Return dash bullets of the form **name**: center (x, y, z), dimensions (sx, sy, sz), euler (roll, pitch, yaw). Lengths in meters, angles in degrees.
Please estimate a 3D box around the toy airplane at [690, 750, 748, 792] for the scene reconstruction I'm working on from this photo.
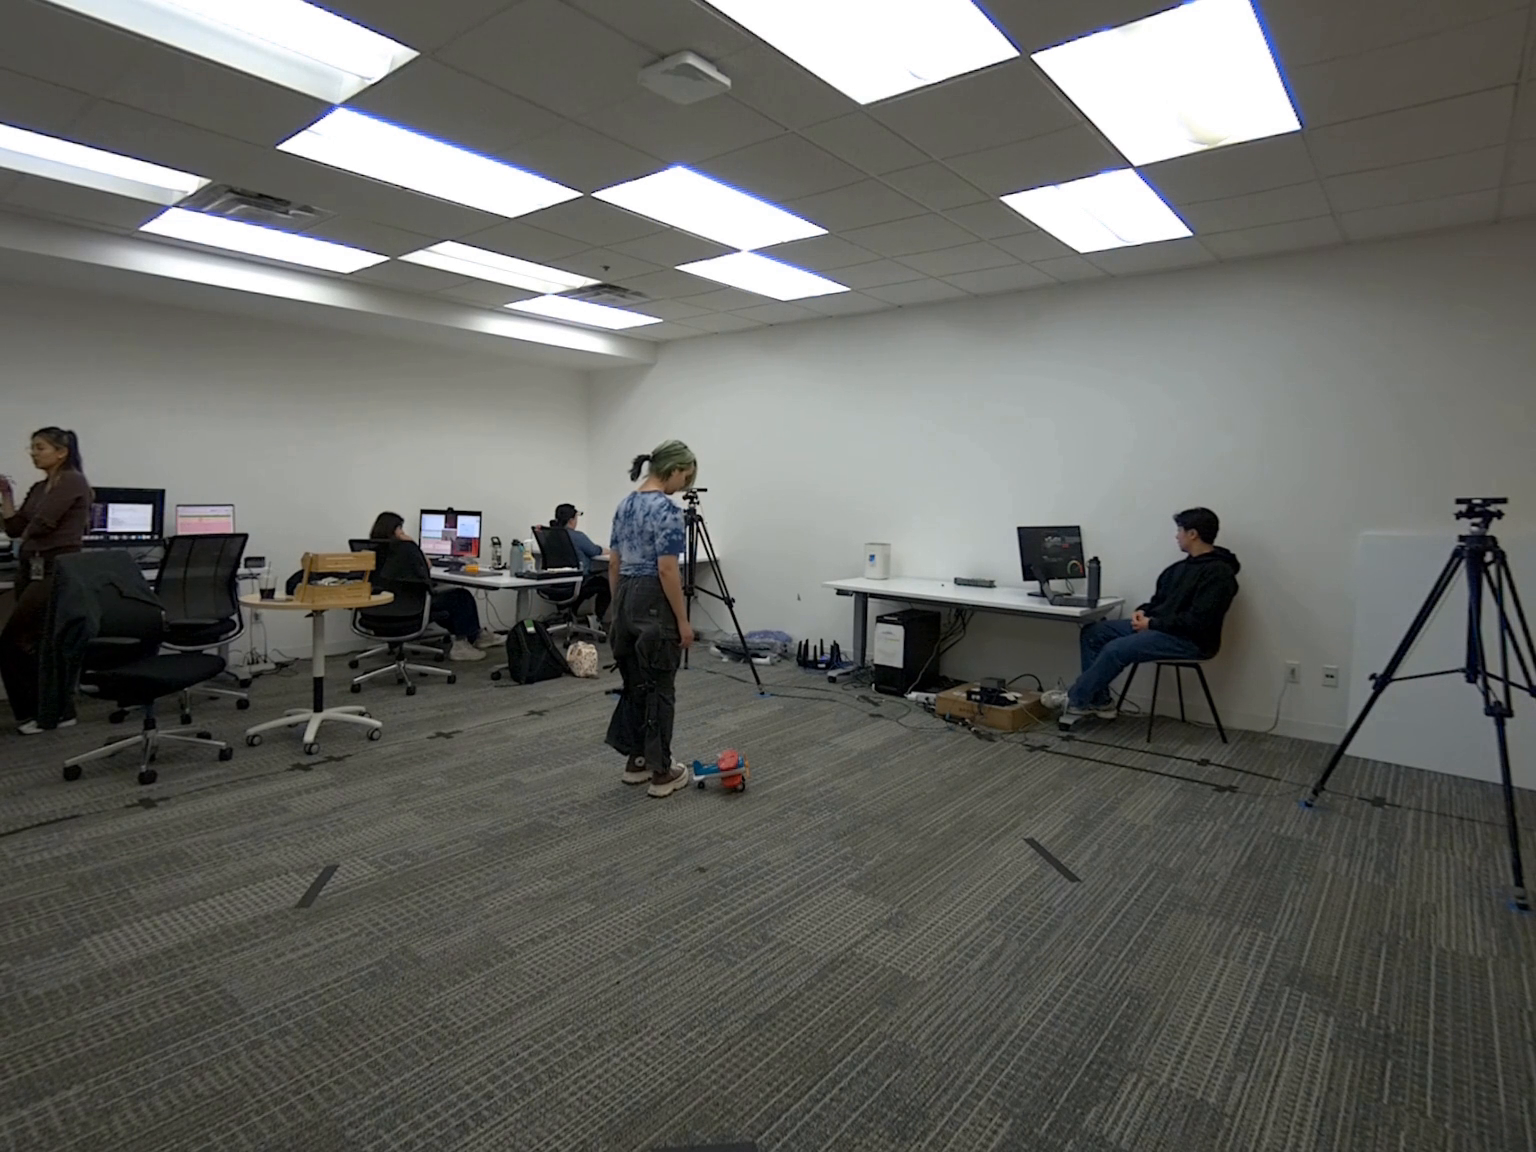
- **toy airplane**: center (-0.232, 0.920, 3.951), dimensions (0.253, 0.156, 0.259), euler (0, 7, -27)
